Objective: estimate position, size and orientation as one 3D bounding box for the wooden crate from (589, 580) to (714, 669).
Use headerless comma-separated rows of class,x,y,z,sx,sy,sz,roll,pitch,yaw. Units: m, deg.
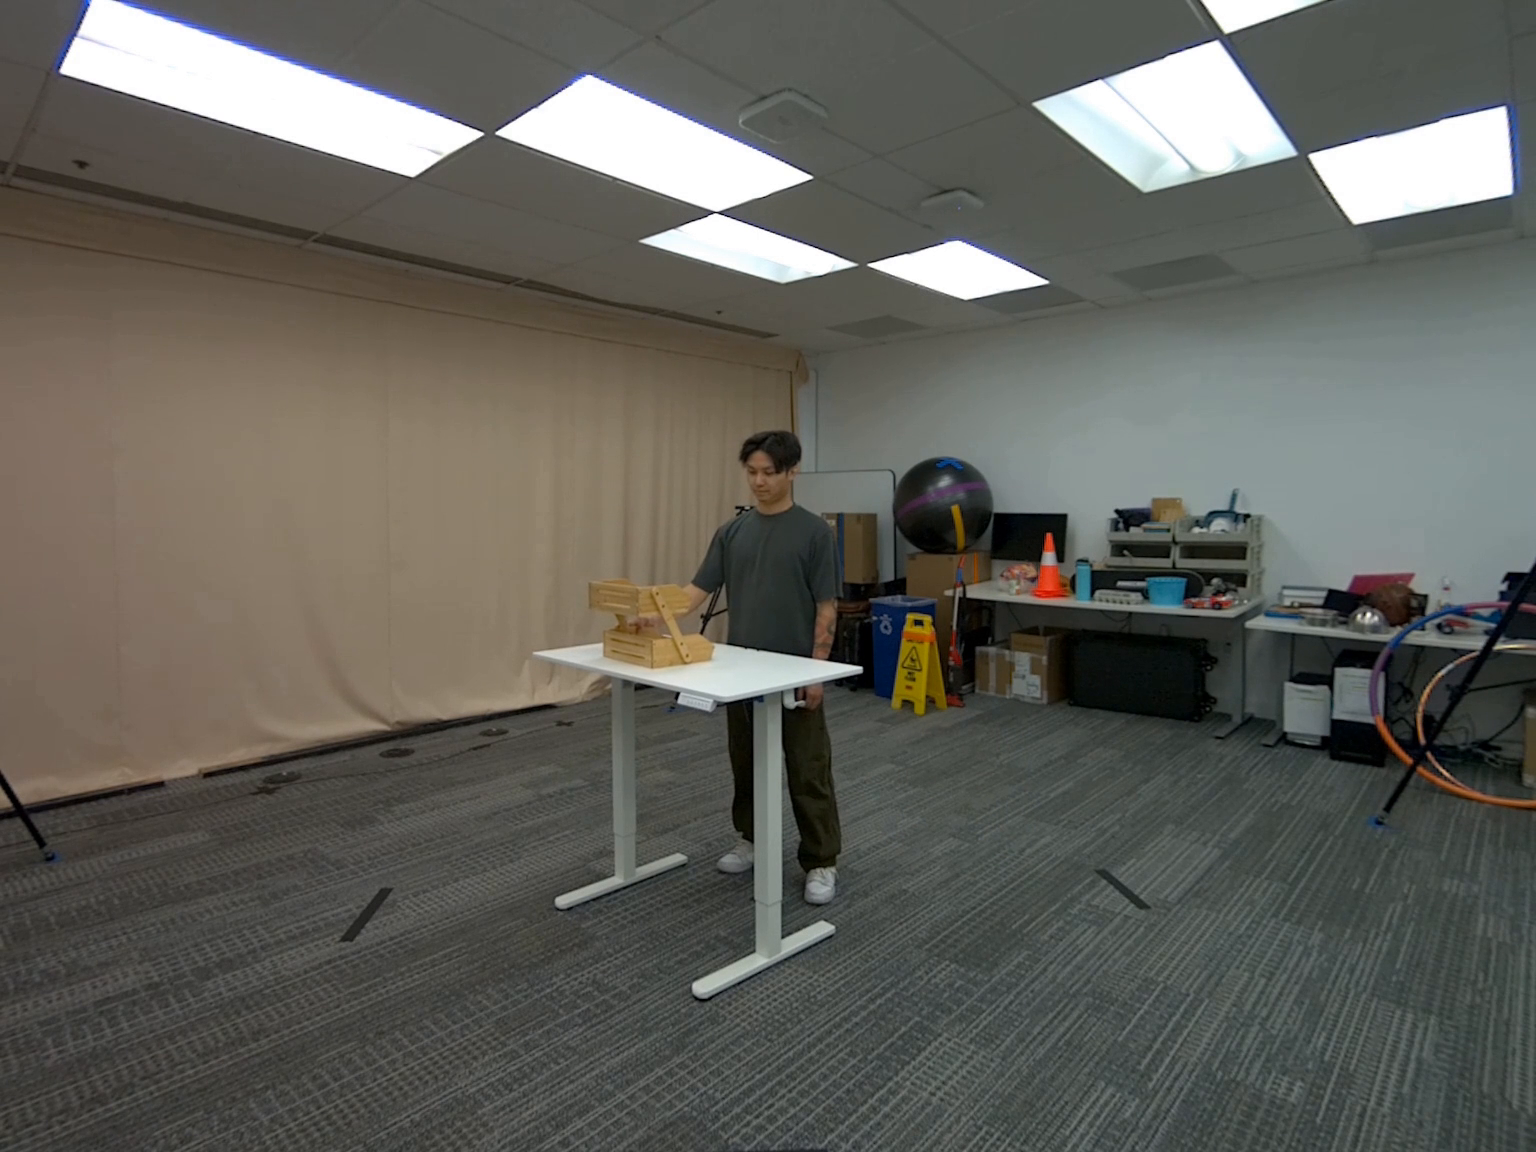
wooden crate,-0.385,0.147,2.812,0.293,0.273,0.335,-4,5,-41
